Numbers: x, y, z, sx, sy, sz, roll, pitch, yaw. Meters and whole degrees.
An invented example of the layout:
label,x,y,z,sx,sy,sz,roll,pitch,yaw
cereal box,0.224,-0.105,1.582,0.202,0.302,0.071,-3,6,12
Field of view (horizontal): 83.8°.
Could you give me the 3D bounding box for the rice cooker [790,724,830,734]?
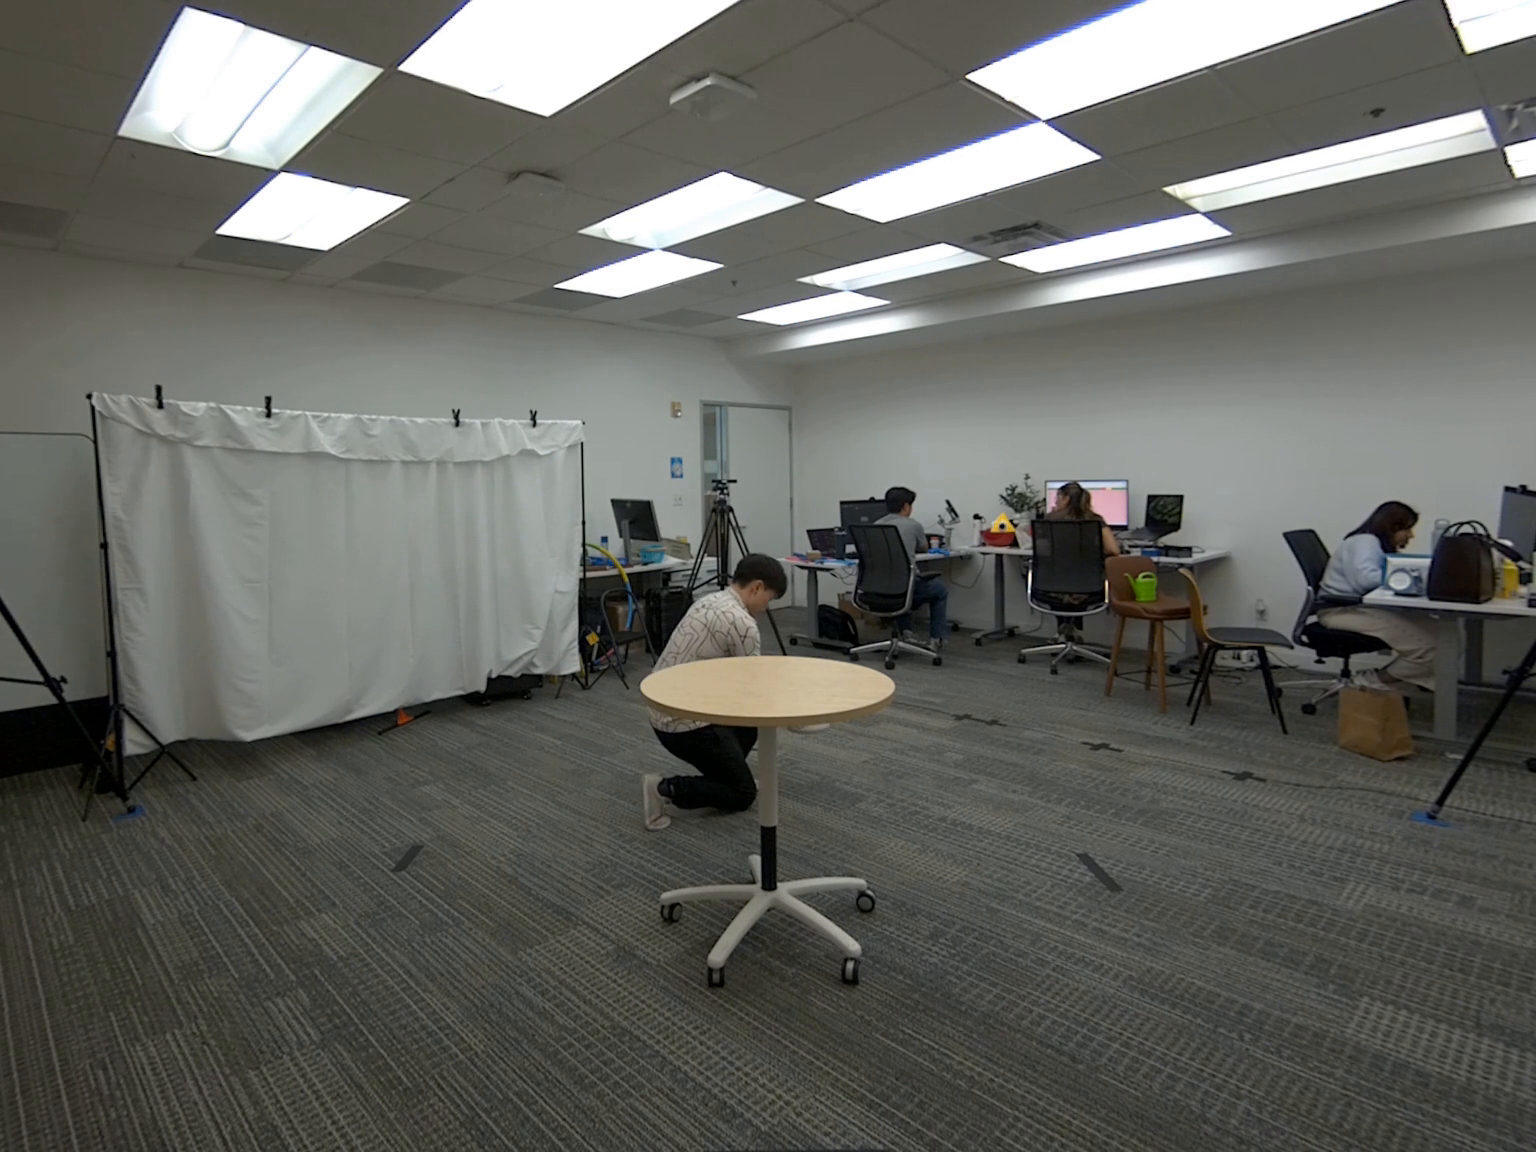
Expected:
label,x,y,z,sx,sy,sz,roll,pitch,yaw
rice cooker,0.175,0.572,3.829,0.225,0.232,0.213,-2,2,22
